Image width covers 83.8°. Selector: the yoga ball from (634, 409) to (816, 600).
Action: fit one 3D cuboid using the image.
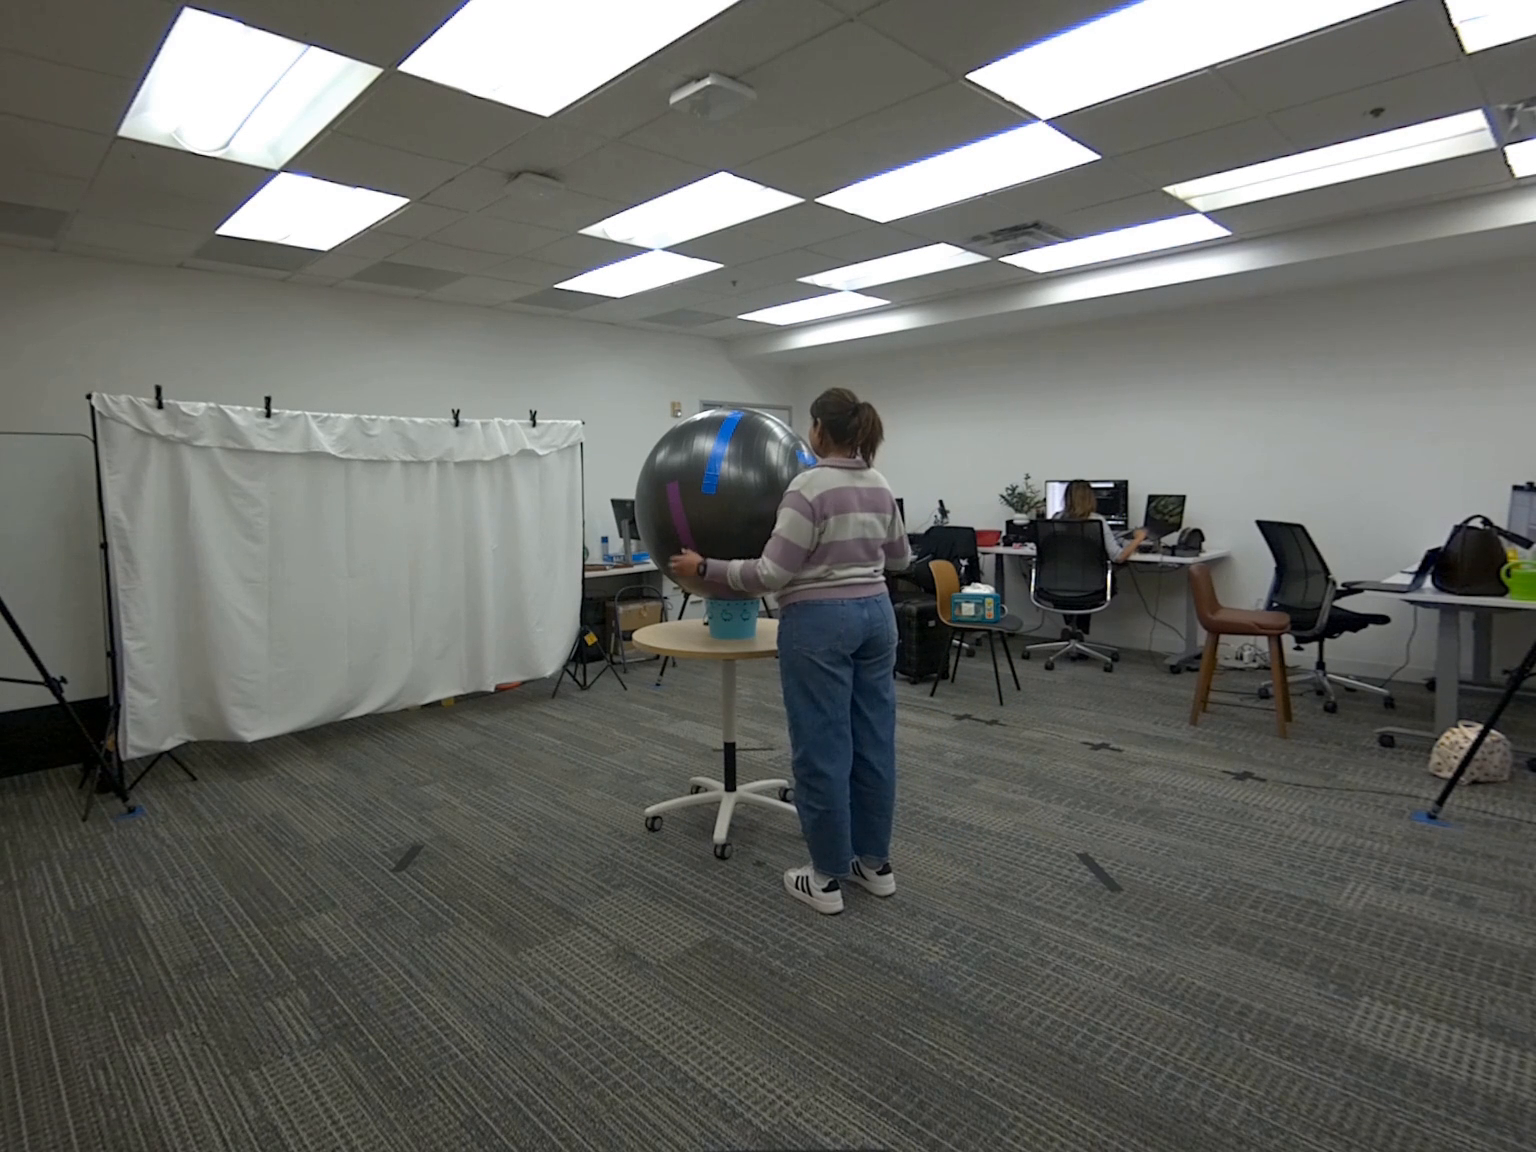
[{"bbox_3d":[-0.156,-0.274,3.361,0.757,0.755,0.762,-1,5,-2],"label":"yoga ball"}]
